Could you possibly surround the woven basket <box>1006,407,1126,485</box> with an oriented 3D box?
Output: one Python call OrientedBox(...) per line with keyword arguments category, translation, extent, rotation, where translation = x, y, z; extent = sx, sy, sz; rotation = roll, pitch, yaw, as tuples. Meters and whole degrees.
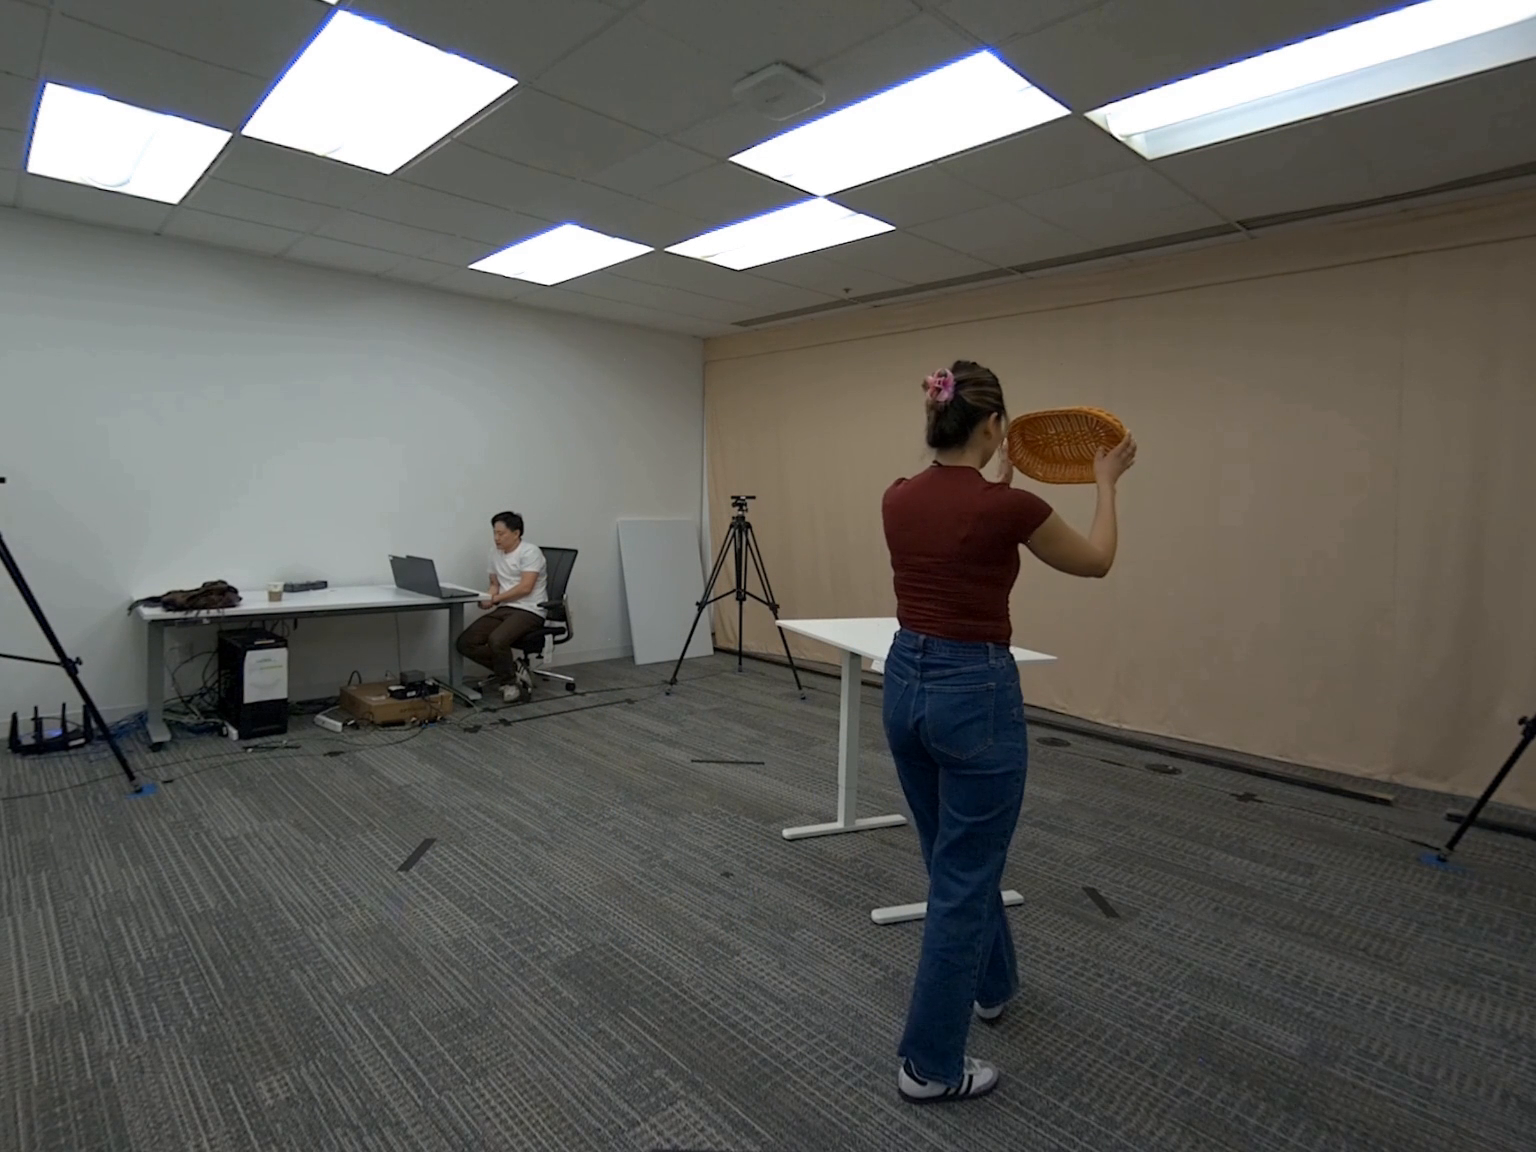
OrientedBox(category="woven basket", translation=(0.807, -0.368, 2.301), extent=(0.359, 0.246, 0.073), rotation=(6, 46, 44))
